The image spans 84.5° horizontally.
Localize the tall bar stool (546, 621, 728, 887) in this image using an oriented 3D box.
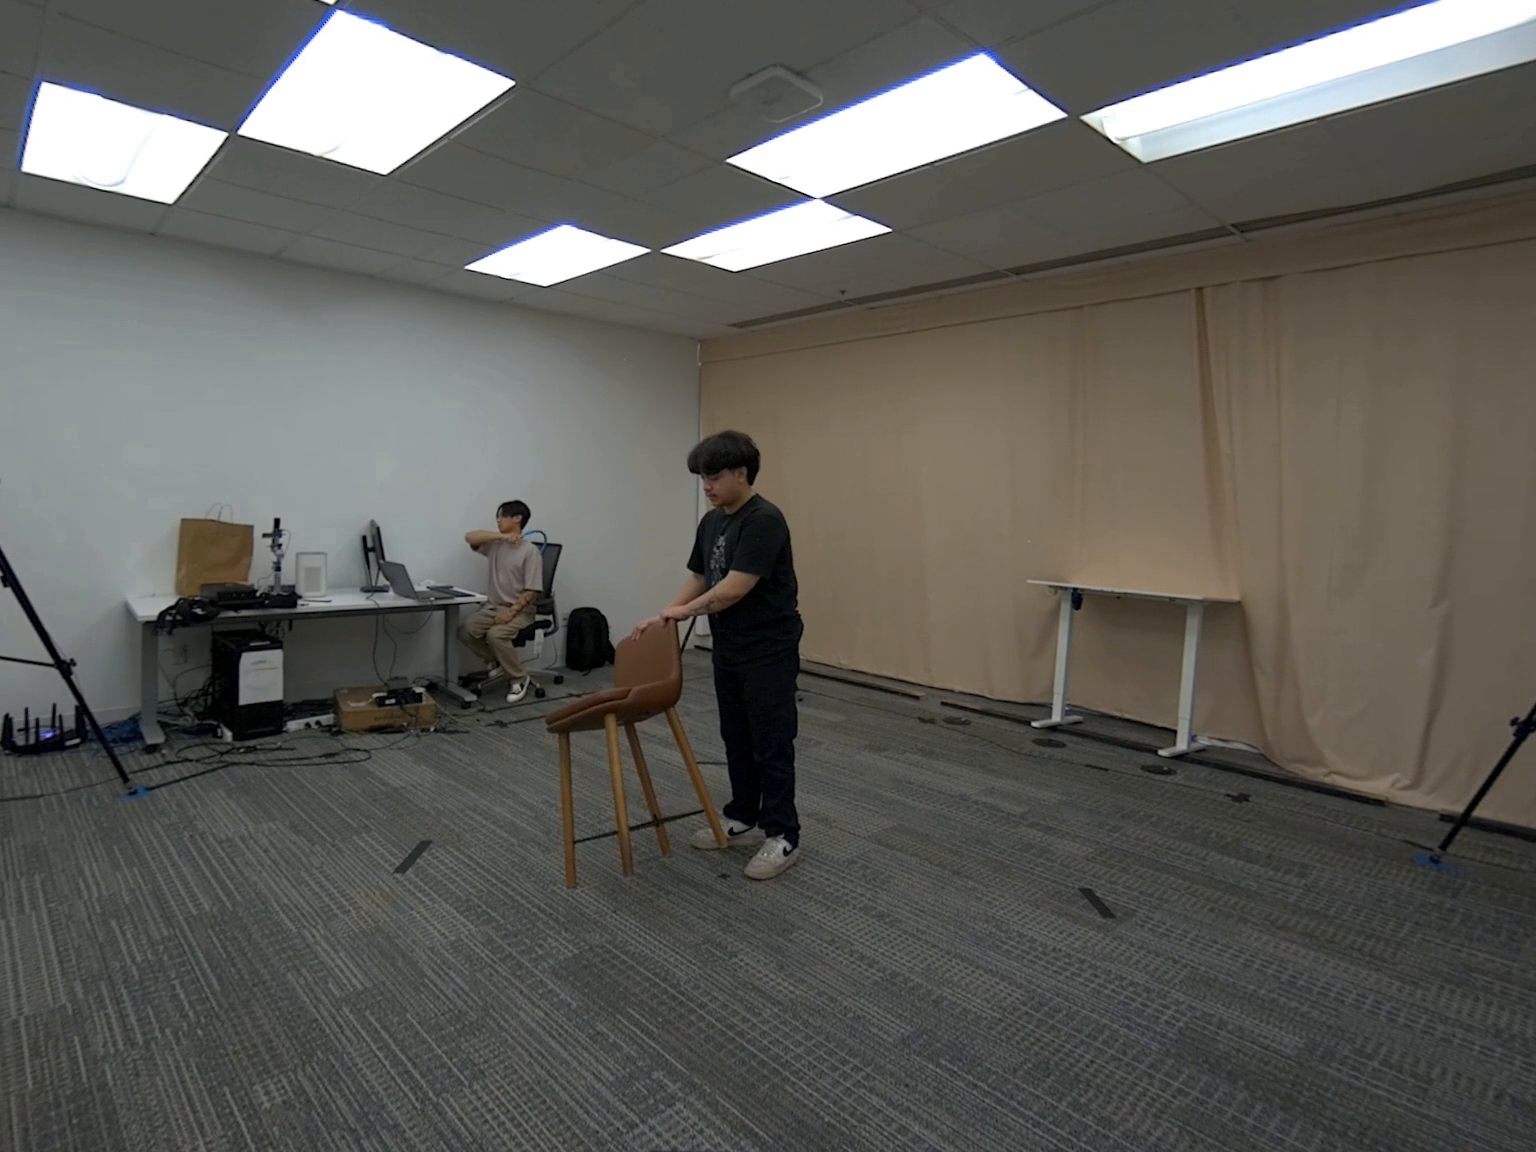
[{"bbox_3d":[-0.537,0.625,3.116,0.456,0.902,0.461,1,-21,-43],"label":"tall bar stool"}]
